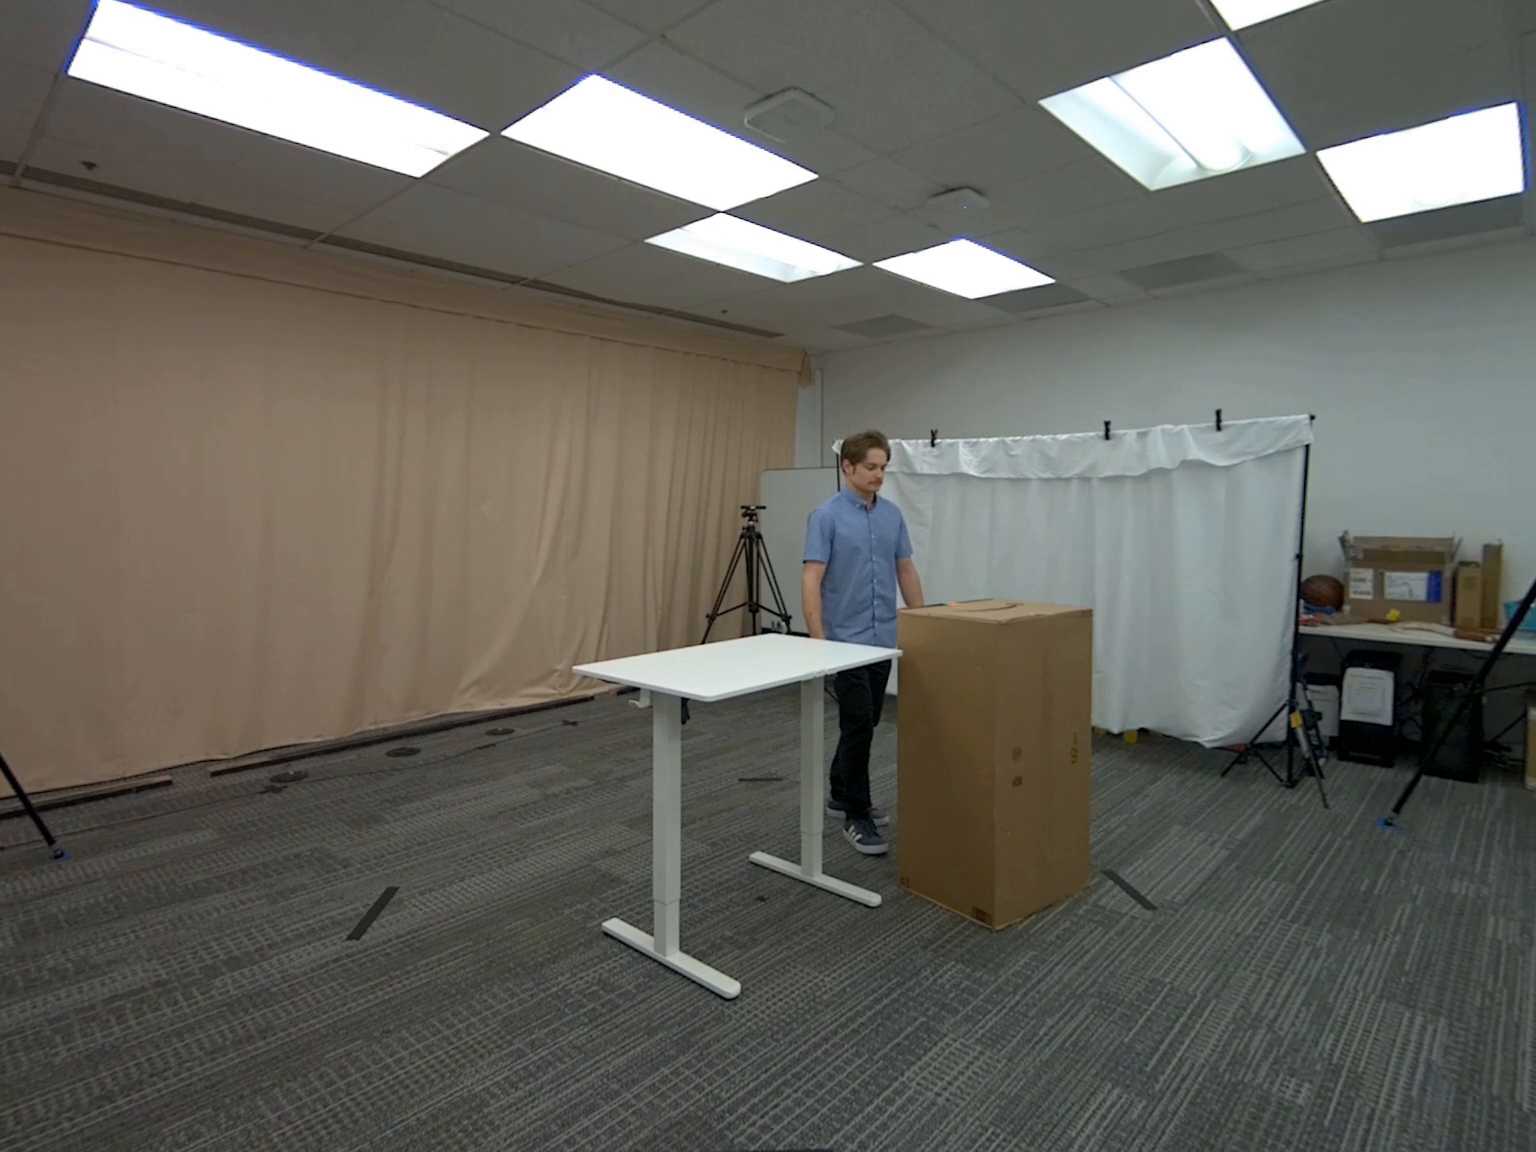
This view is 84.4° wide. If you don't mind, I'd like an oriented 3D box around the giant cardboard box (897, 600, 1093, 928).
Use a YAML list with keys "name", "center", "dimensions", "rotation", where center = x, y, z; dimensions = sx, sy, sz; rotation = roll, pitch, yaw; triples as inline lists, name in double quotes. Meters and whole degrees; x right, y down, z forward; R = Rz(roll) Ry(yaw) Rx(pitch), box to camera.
- name: "giant cardboard box"
  center: [0.826, 0.625, 3.056]
  dimensions: [0.560, 1.024, 0.440]
  rotation: [-2, 4, -38]
